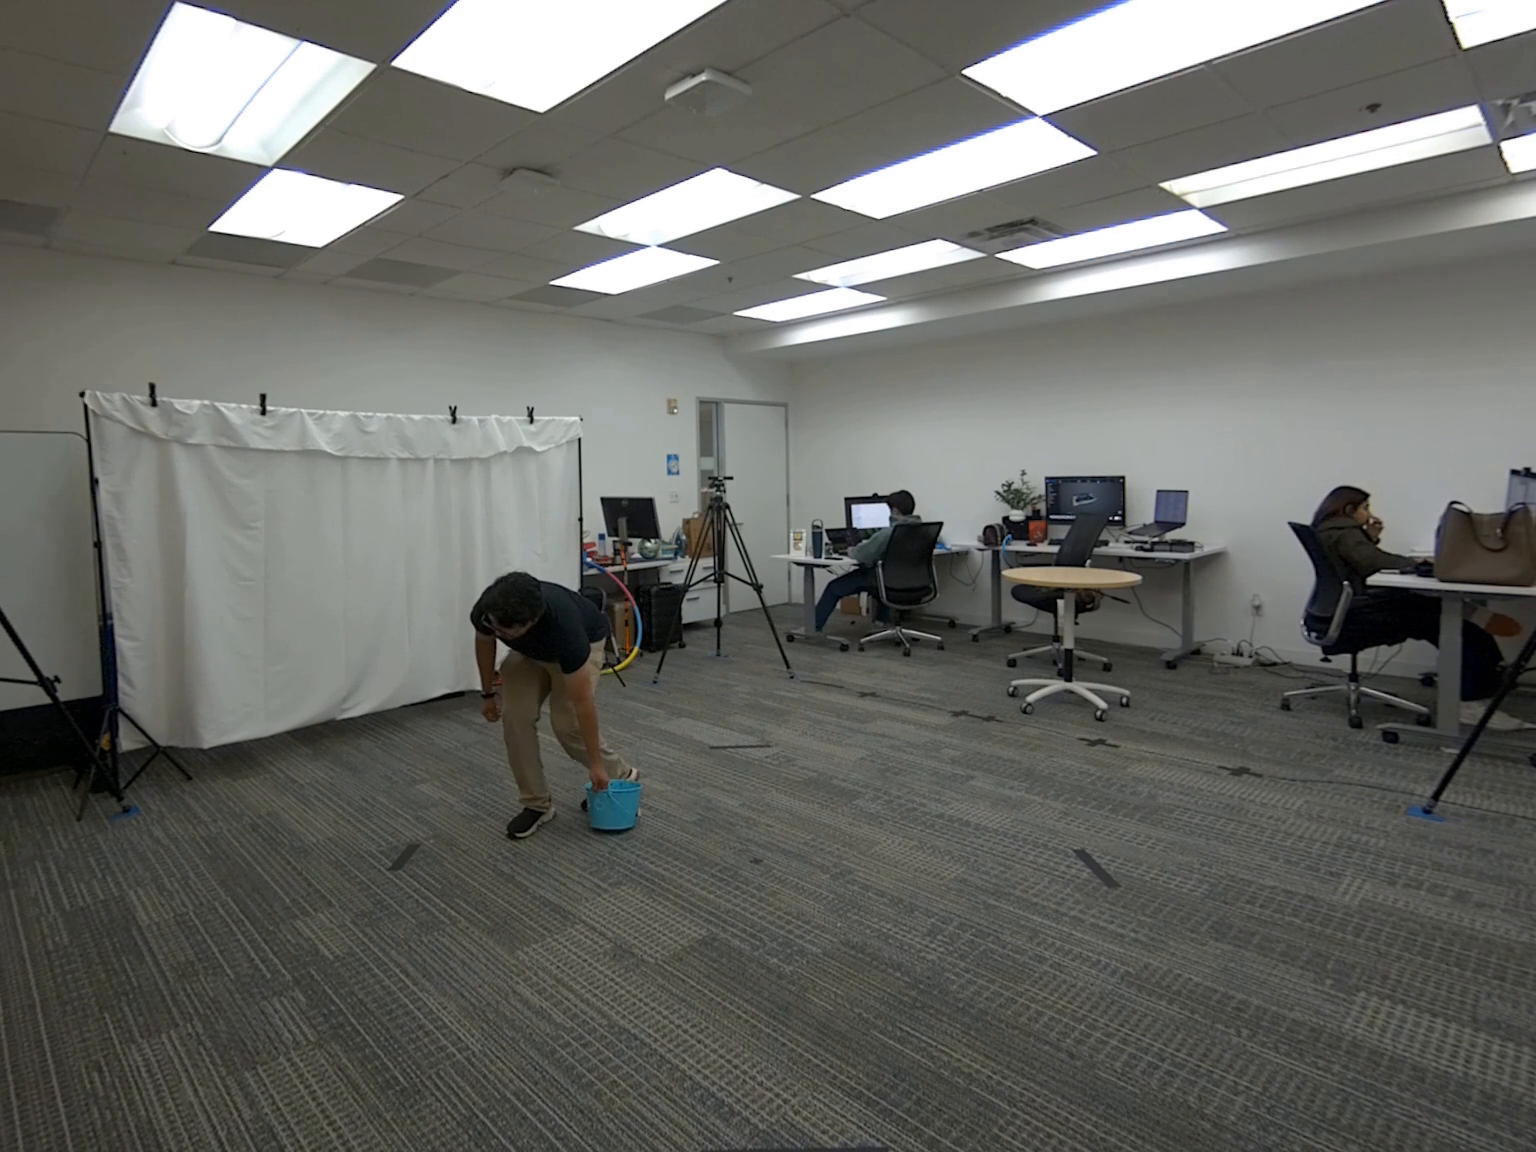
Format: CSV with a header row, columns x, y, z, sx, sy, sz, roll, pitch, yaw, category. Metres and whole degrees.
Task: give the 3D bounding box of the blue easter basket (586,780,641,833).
x,y,z,sx,sy,sz,roll,pitch,yaw,category
-0.619,0.921,3.447,0.243,0.156,0.243,1,-4,-2,blue easter basket
